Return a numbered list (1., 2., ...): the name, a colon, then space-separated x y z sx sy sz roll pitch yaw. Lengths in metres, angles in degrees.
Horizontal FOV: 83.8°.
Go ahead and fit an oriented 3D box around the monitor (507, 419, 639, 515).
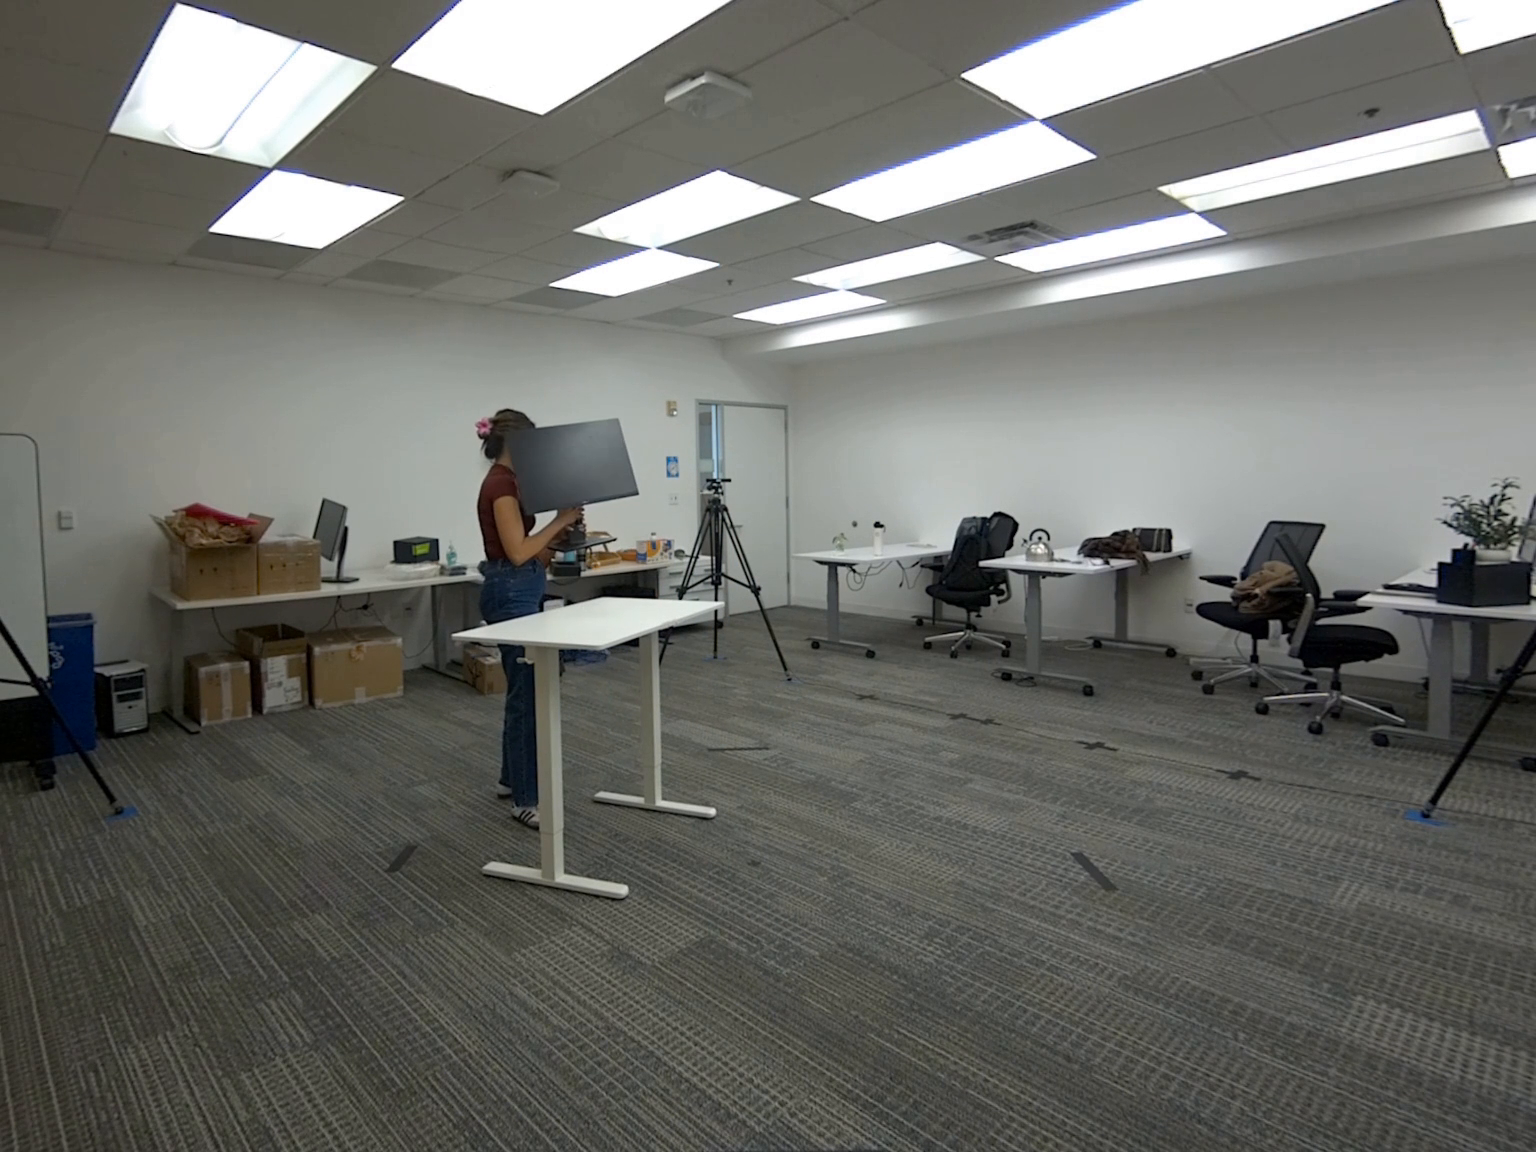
1. monitor: -0.823 -0.381 3.625 0.528 0.519 0.192 -14 10 -37
